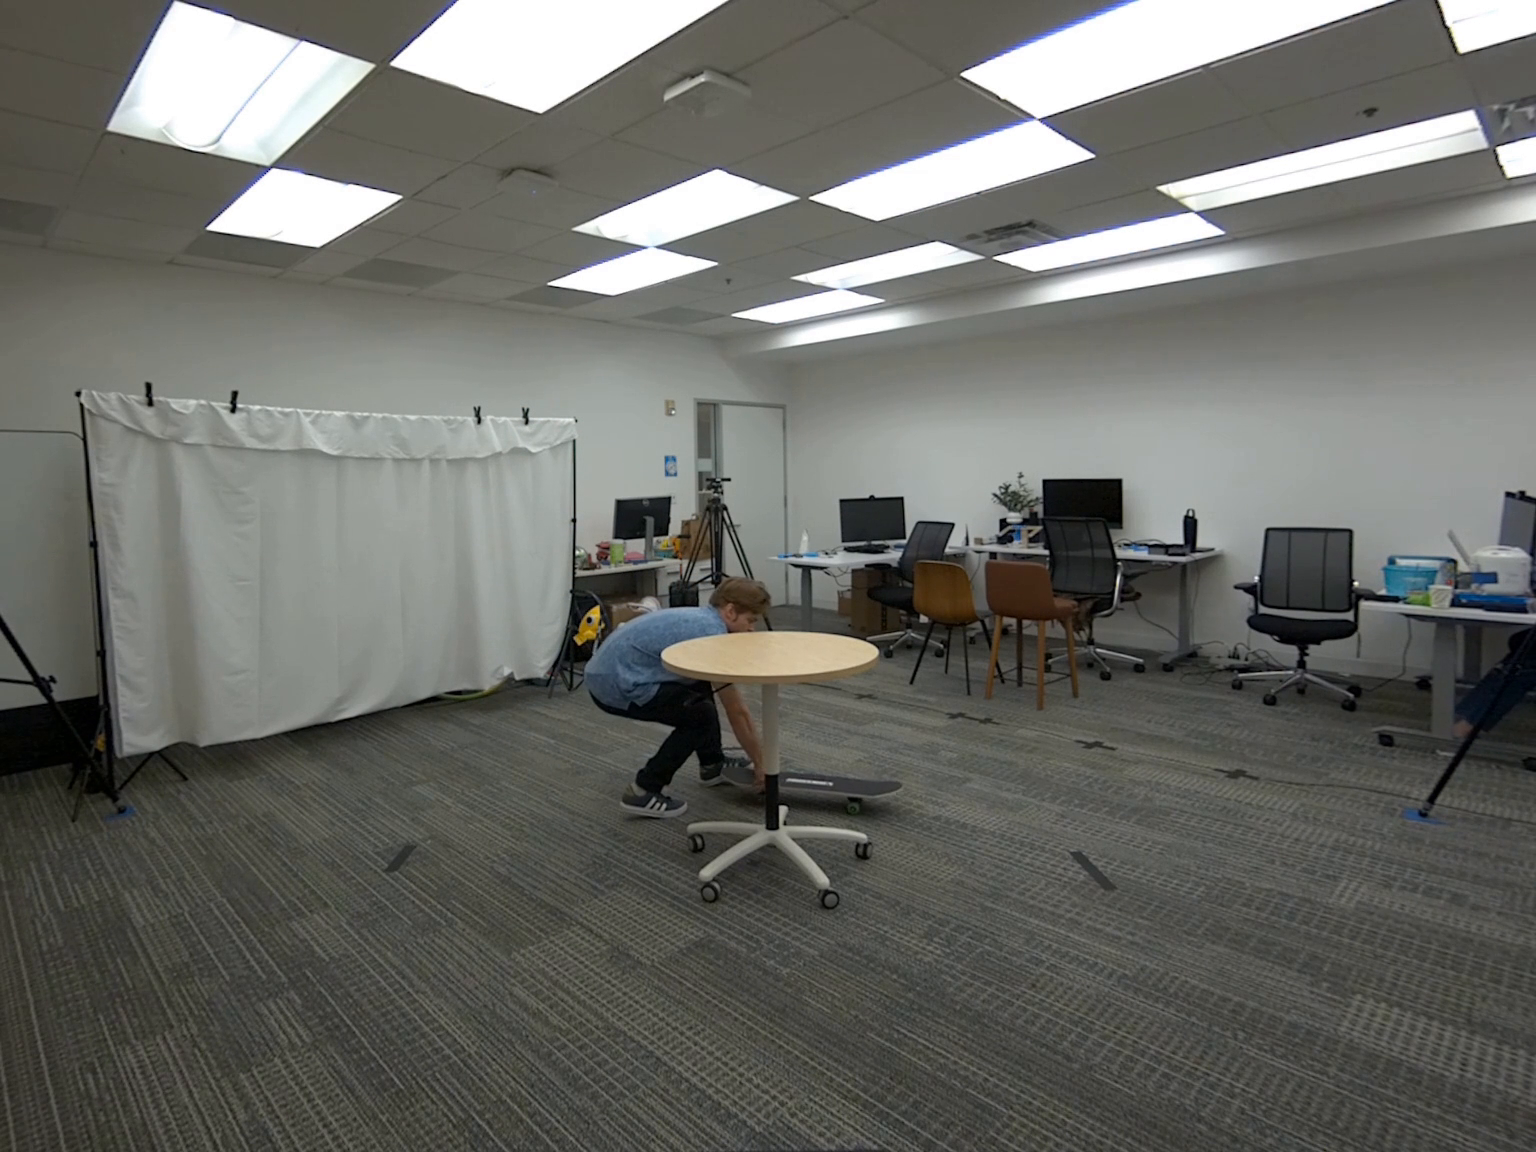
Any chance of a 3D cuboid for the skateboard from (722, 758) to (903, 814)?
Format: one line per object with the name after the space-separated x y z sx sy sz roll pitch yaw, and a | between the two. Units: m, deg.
0.182 0.919 3.669 0.798 0.110 0.191 2 5 16 | skateboard
